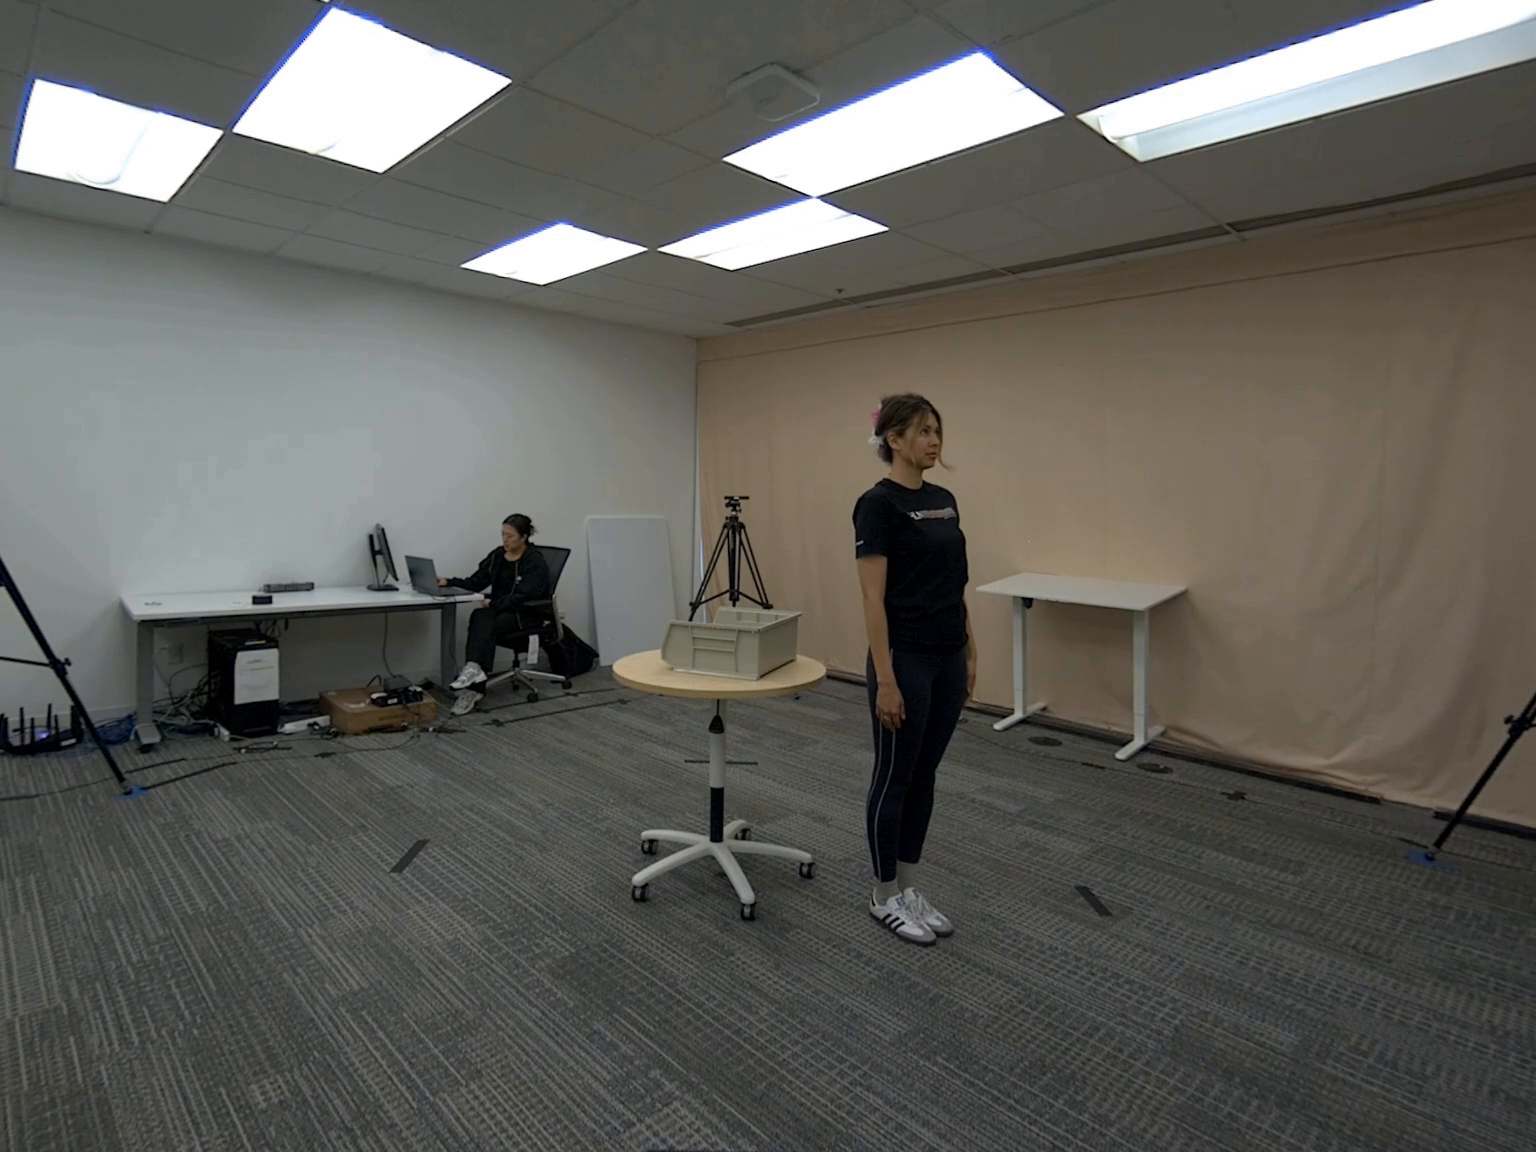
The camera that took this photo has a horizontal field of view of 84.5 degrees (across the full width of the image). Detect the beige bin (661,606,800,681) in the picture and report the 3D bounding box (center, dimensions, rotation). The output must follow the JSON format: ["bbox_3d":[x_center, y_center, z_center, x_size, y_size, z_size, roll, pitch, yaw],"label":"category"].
[{"bbox_3d":[-0.125,0.236,3.049,0.384,0.188,0.416,4,6,22],"label":"beige bin"}]
